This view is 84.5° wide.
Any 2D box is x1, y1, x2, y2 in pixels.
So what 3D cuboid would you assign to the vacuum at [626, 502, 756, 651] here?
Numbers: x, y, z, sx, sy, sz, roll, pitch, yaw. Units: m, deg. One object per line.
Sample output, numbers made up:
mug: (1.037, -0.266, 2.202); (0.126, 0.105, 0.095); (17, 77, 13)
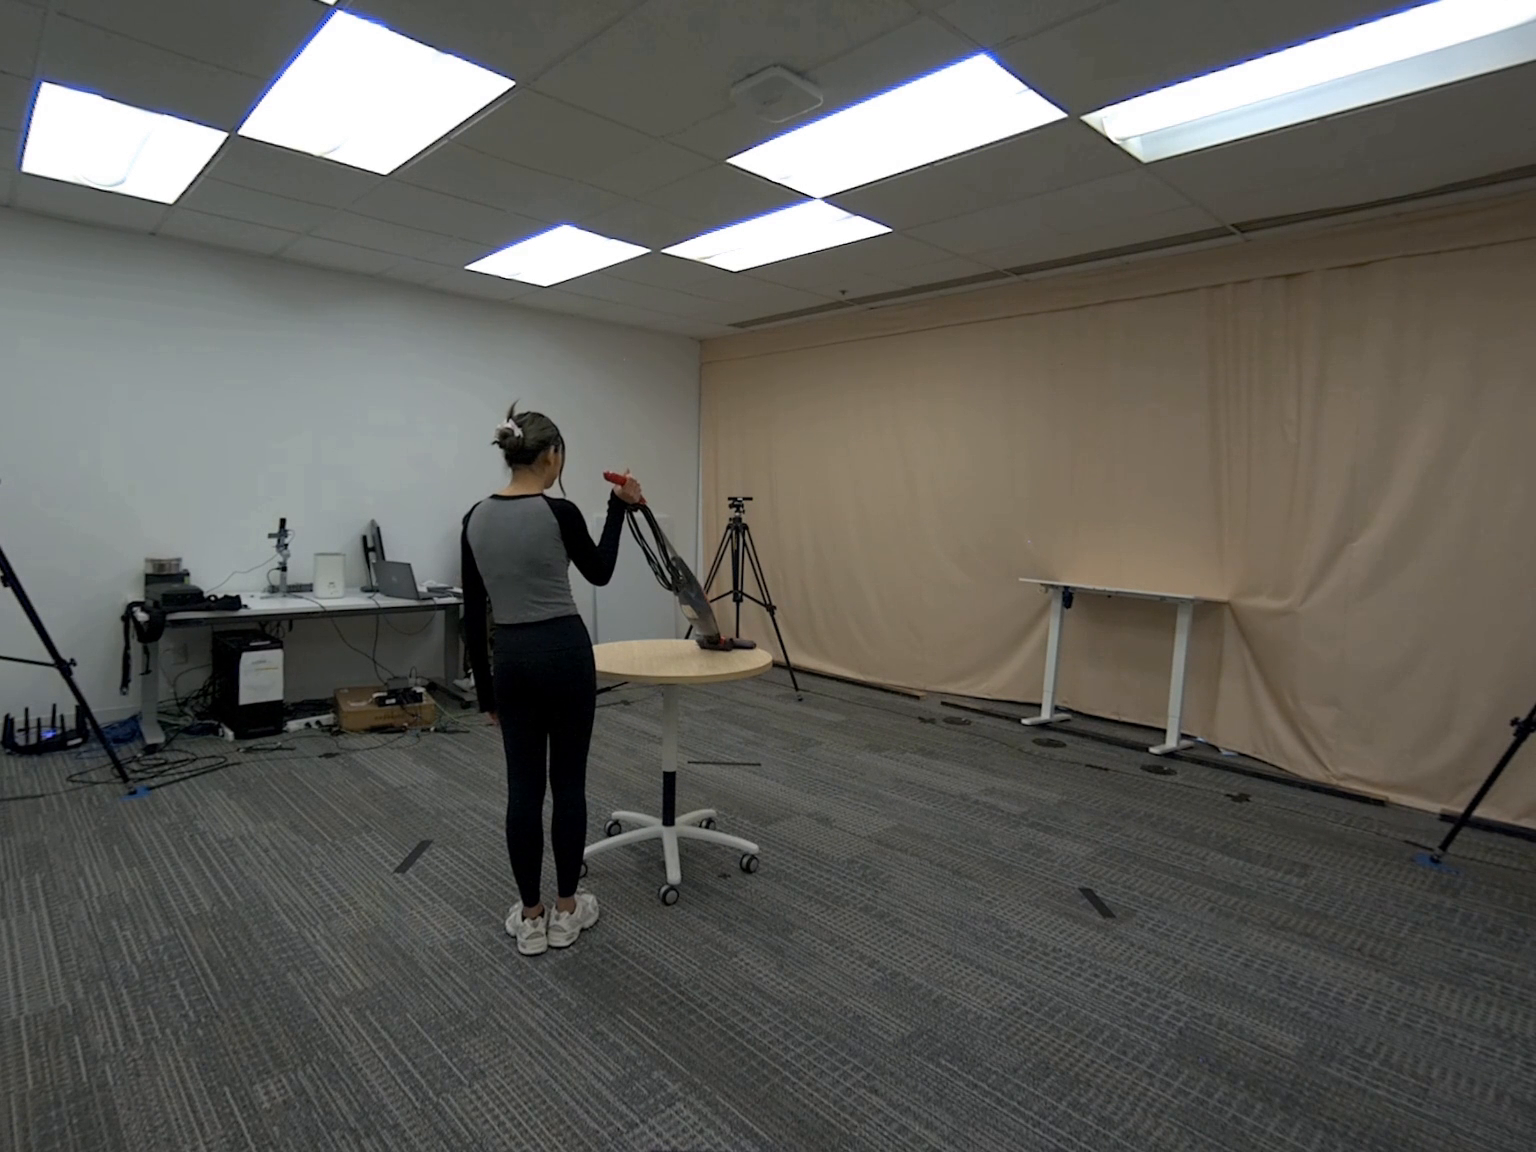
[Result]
vacuum: (-0.335, -0.014, 3.010); (0.257, 0.146, 1.018); (1, -34, 22)
